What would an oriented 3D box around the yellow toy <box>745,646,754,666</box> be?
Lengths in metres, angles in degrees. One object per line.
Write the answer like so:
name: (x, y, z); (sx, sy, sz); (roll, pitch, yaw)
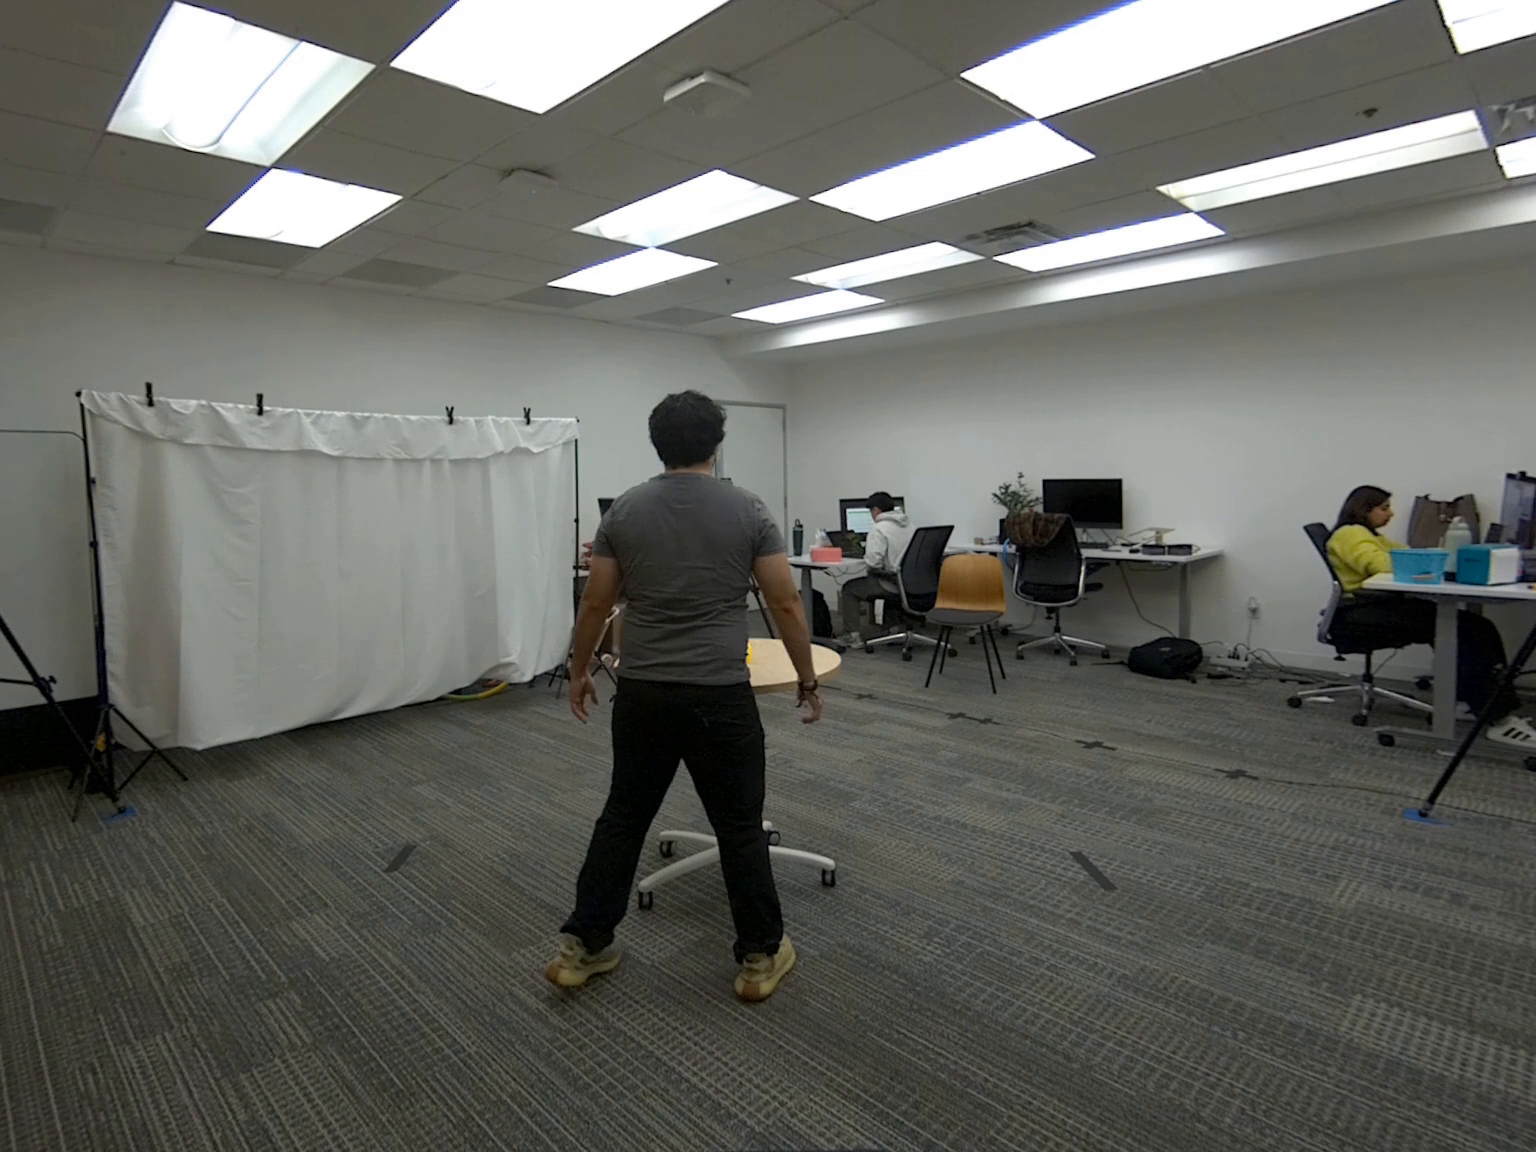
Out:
yellow toy: (-0.148, 0.169, 2.908); (0.206, 0.230, 0.192); (-1, 4, 6)
